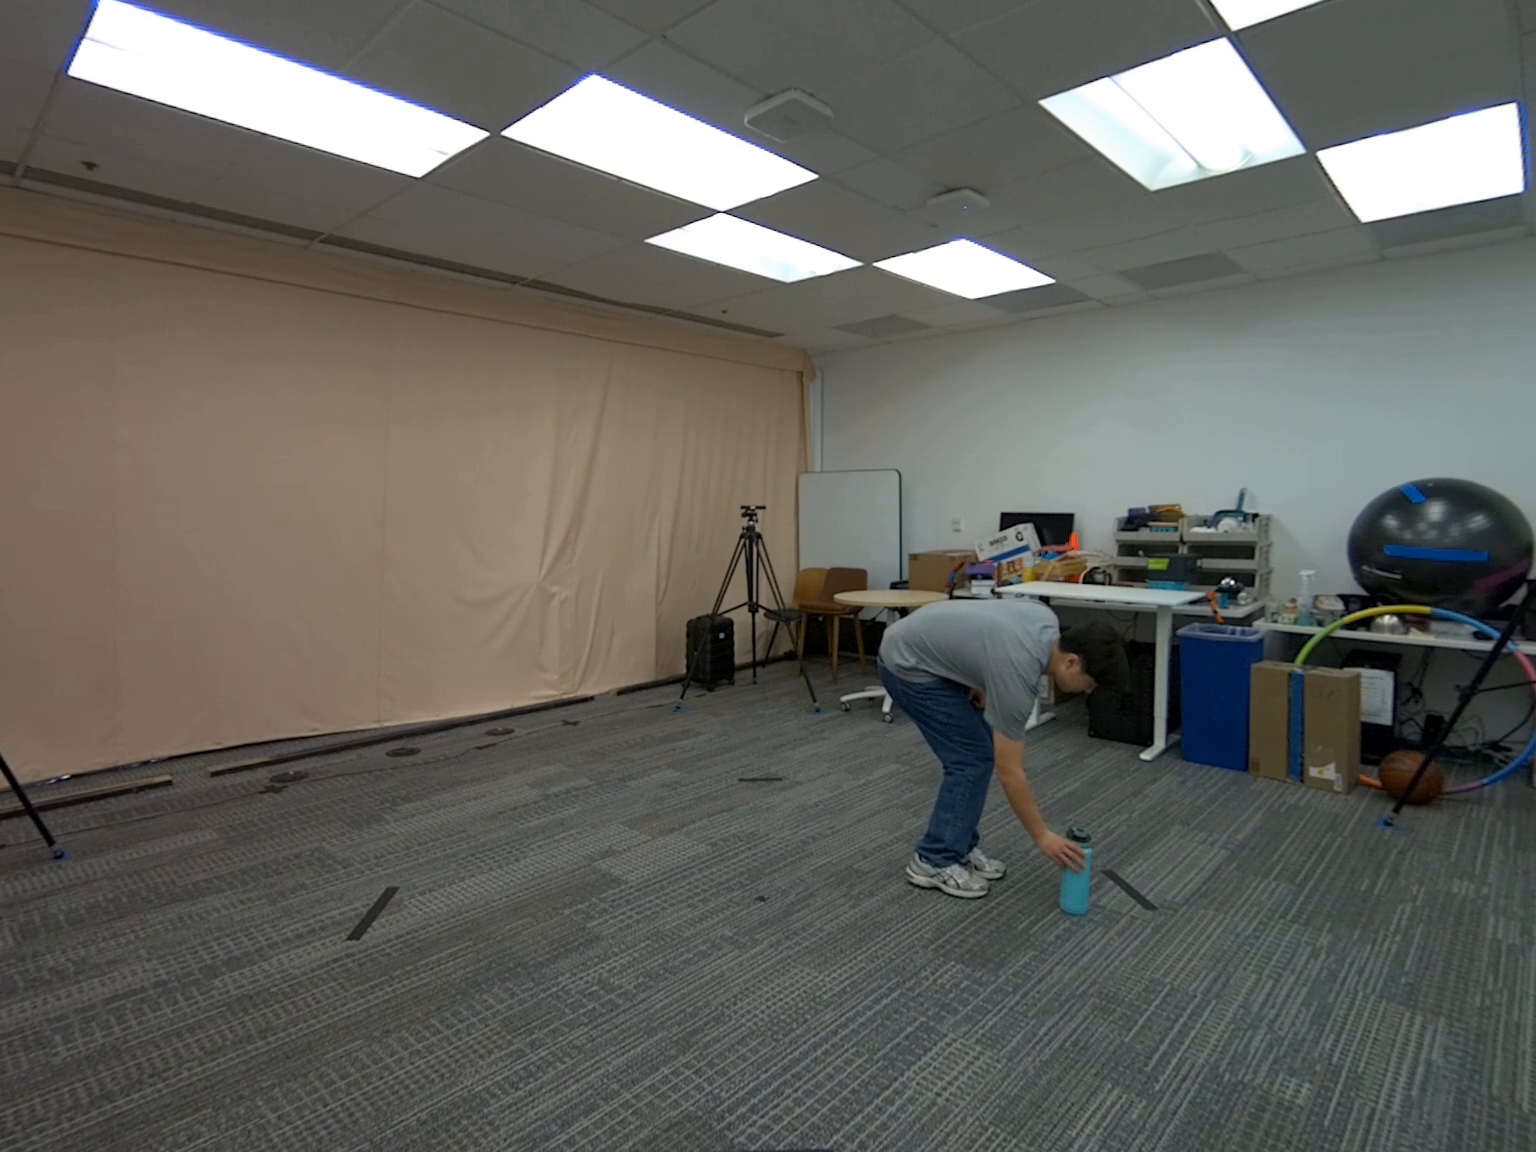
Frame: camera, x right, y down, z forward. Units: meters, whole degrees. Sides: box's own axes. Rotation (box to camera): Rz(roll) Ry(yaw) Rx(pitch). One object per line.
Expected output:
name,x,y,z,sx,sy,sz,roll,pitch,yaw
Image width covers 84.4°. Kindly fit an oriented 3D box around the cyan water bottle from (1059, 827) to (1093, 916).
cyan water bottle,1.070,0.999,2.889,0.092,0.283,0.092,2,2,-2
